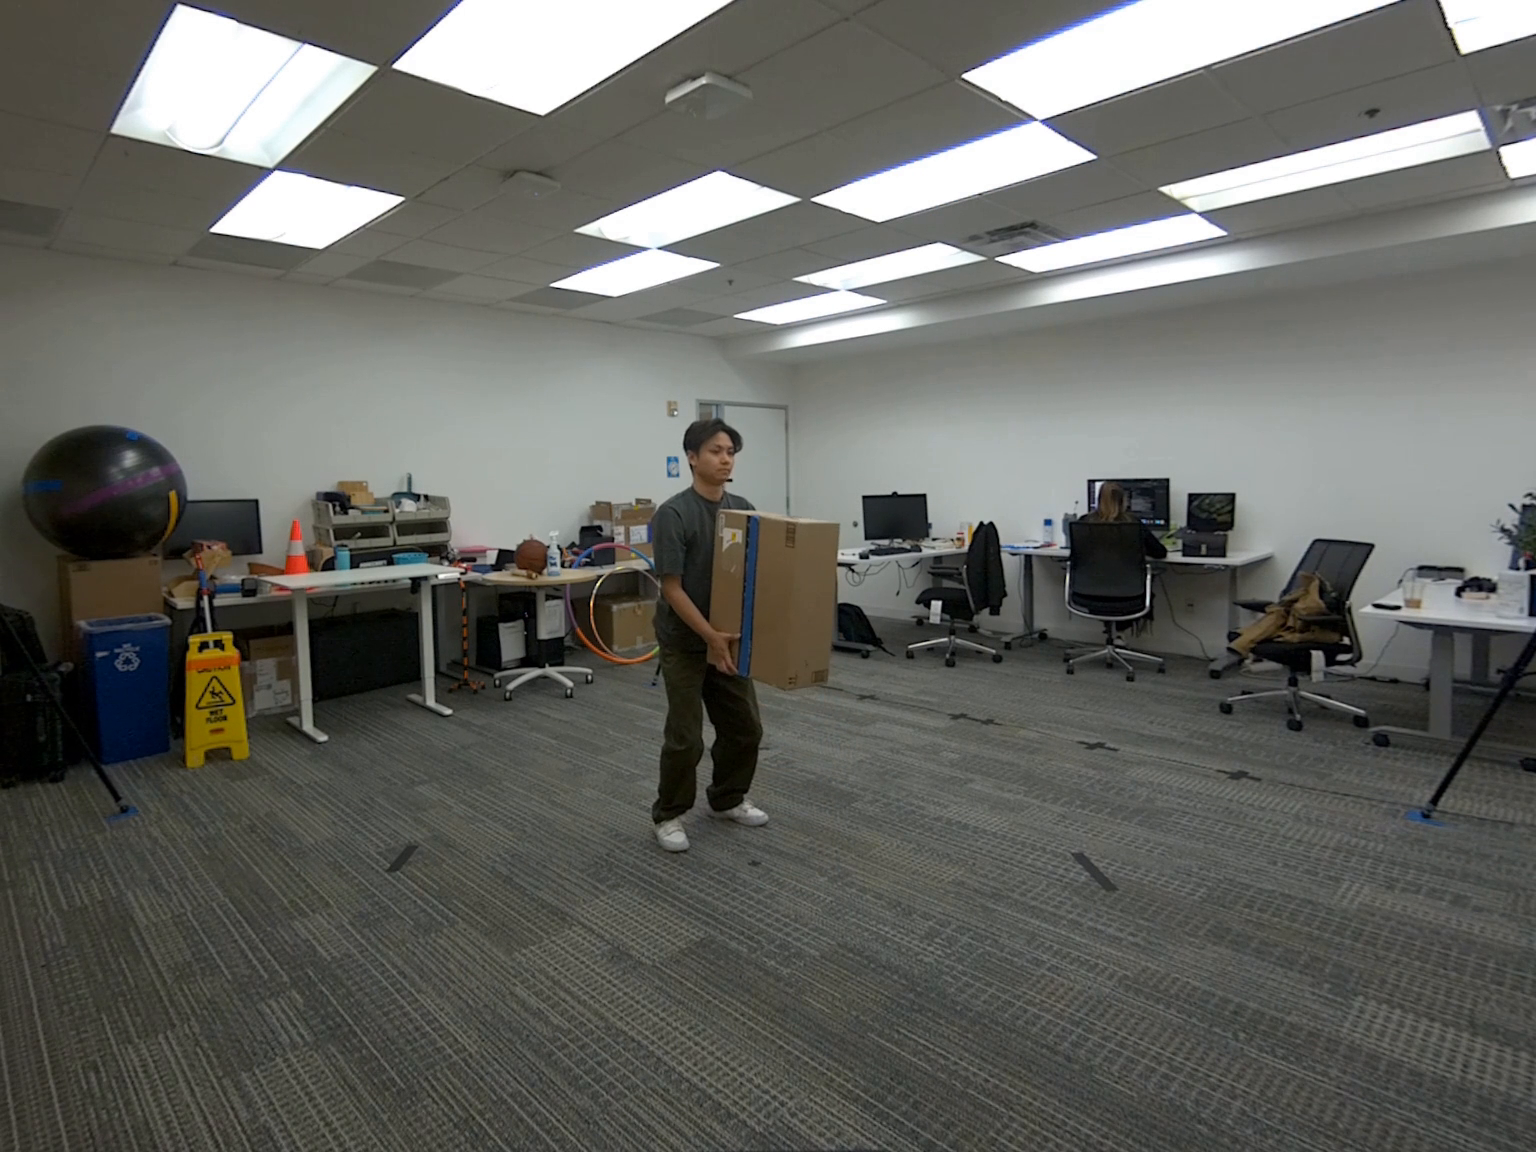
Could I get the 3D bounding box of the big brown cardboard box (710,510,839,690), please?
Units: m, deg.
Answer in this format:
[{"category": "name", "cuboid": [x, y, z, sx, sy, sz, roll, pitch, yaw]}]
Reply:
[{"category": "big brown cardboard box", "cuboid": [0.012, 0.066, 3.044, 0.226, 0.586, 0.431, -1, 8, -42]}]
